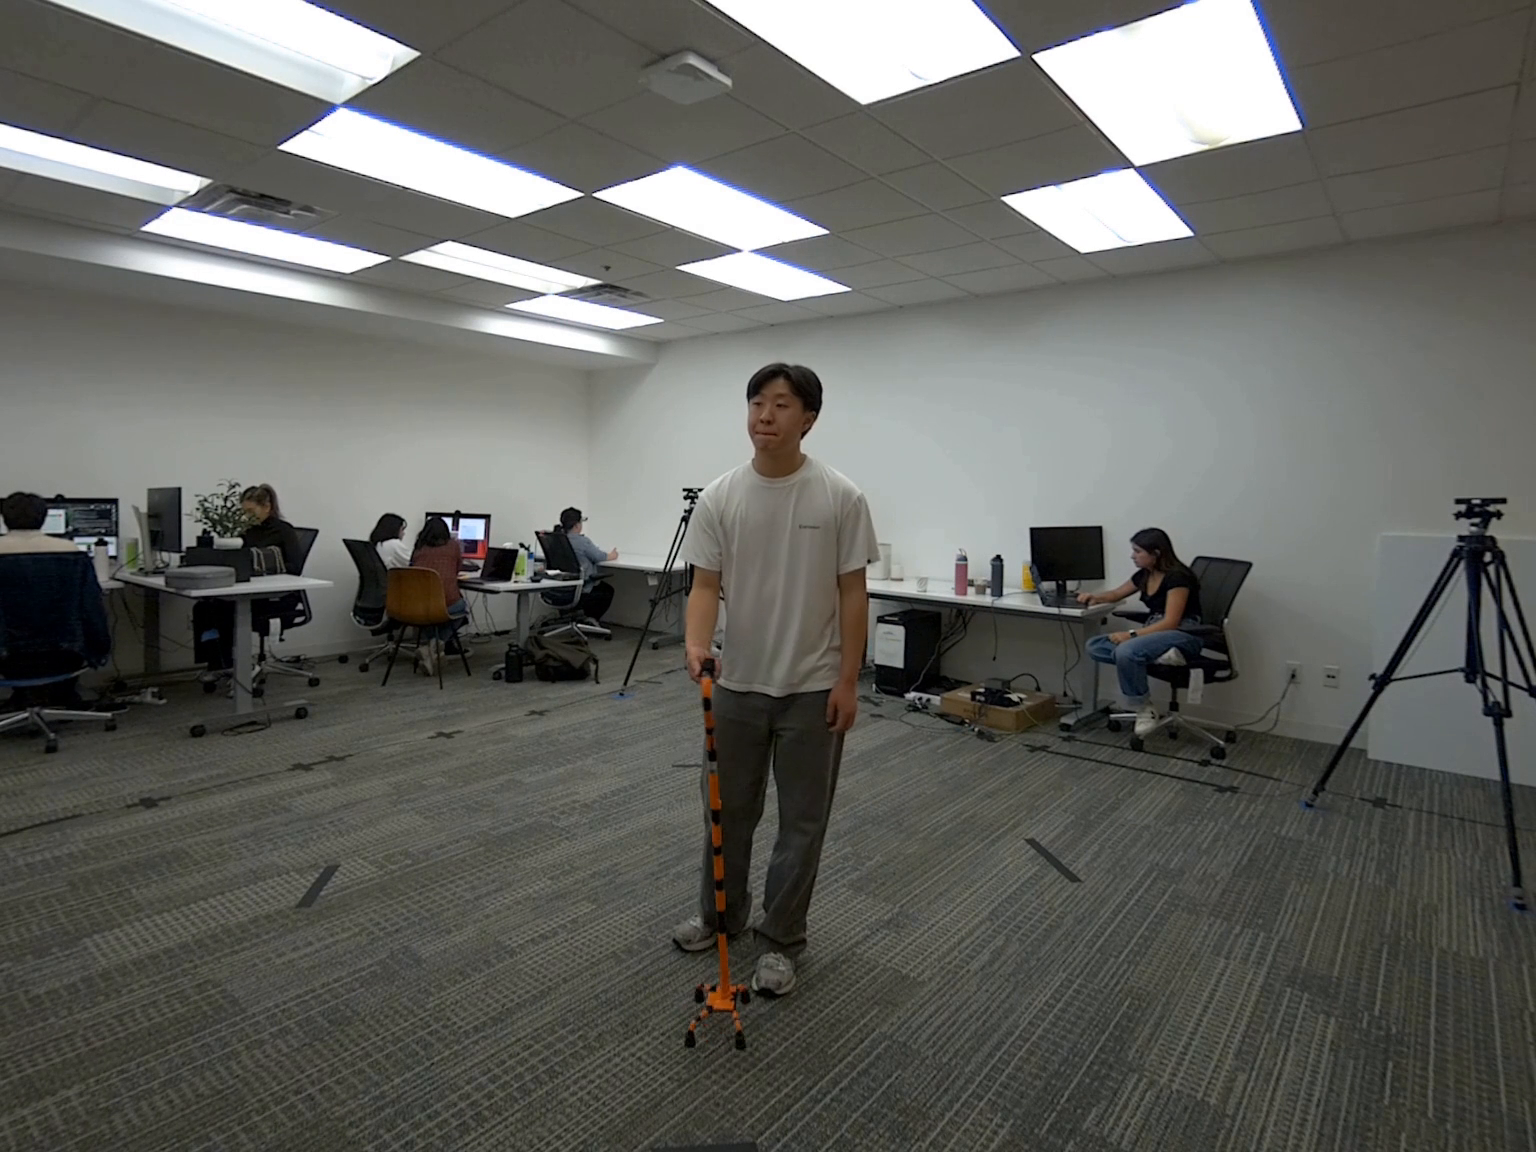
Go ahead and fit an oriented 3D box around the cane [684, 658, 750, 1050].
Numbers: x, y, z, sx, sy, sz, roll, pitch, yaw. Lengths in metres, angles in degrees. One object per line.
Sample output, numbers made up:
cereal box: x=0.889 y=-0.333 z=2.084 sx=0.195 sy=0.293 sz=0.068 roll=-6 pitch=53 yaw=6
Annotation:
cane: x=-0.159 y=0.667 z=2.123 sx=0.151 sy=0.904 sz=0.207 roll=-3 pitch=4 yaw=-2
